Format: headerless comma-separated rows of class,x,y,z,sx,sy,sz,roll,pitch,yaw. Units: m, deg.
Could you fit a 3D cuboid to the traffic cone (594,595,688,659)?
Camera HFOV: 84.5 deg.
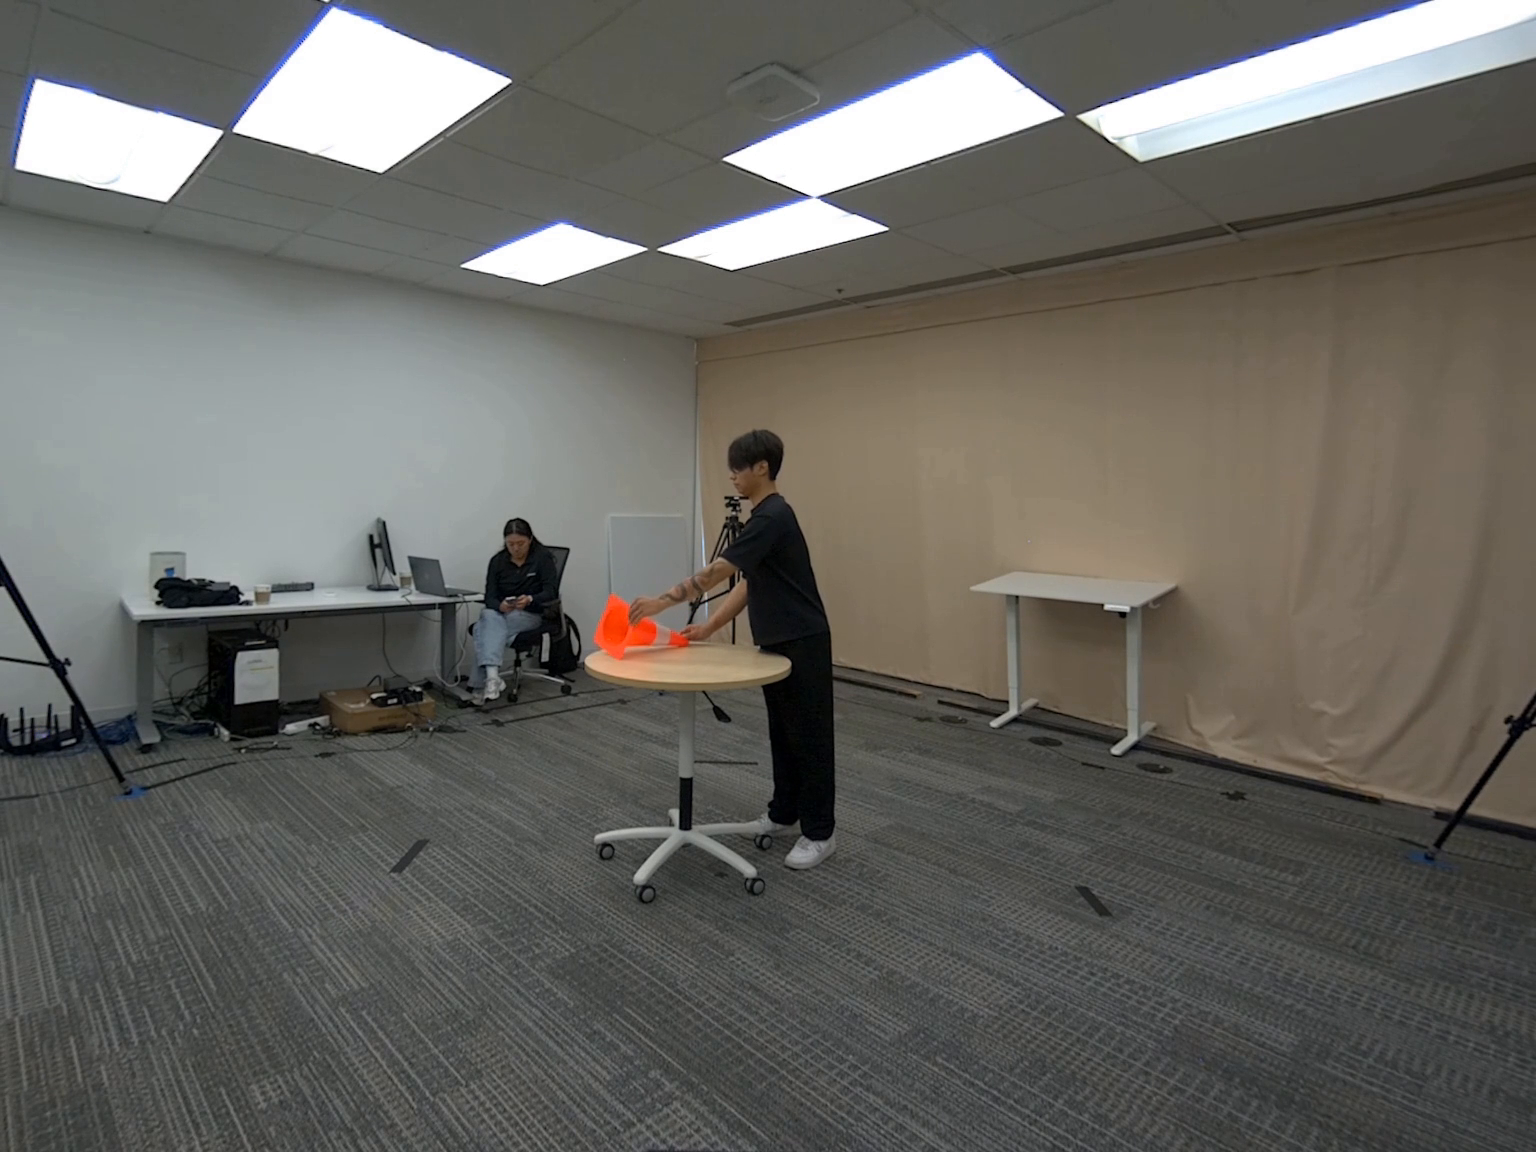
traffic cone,-0.471,0.238,3.295,0.372,0.205,0.210,21,5,-46
